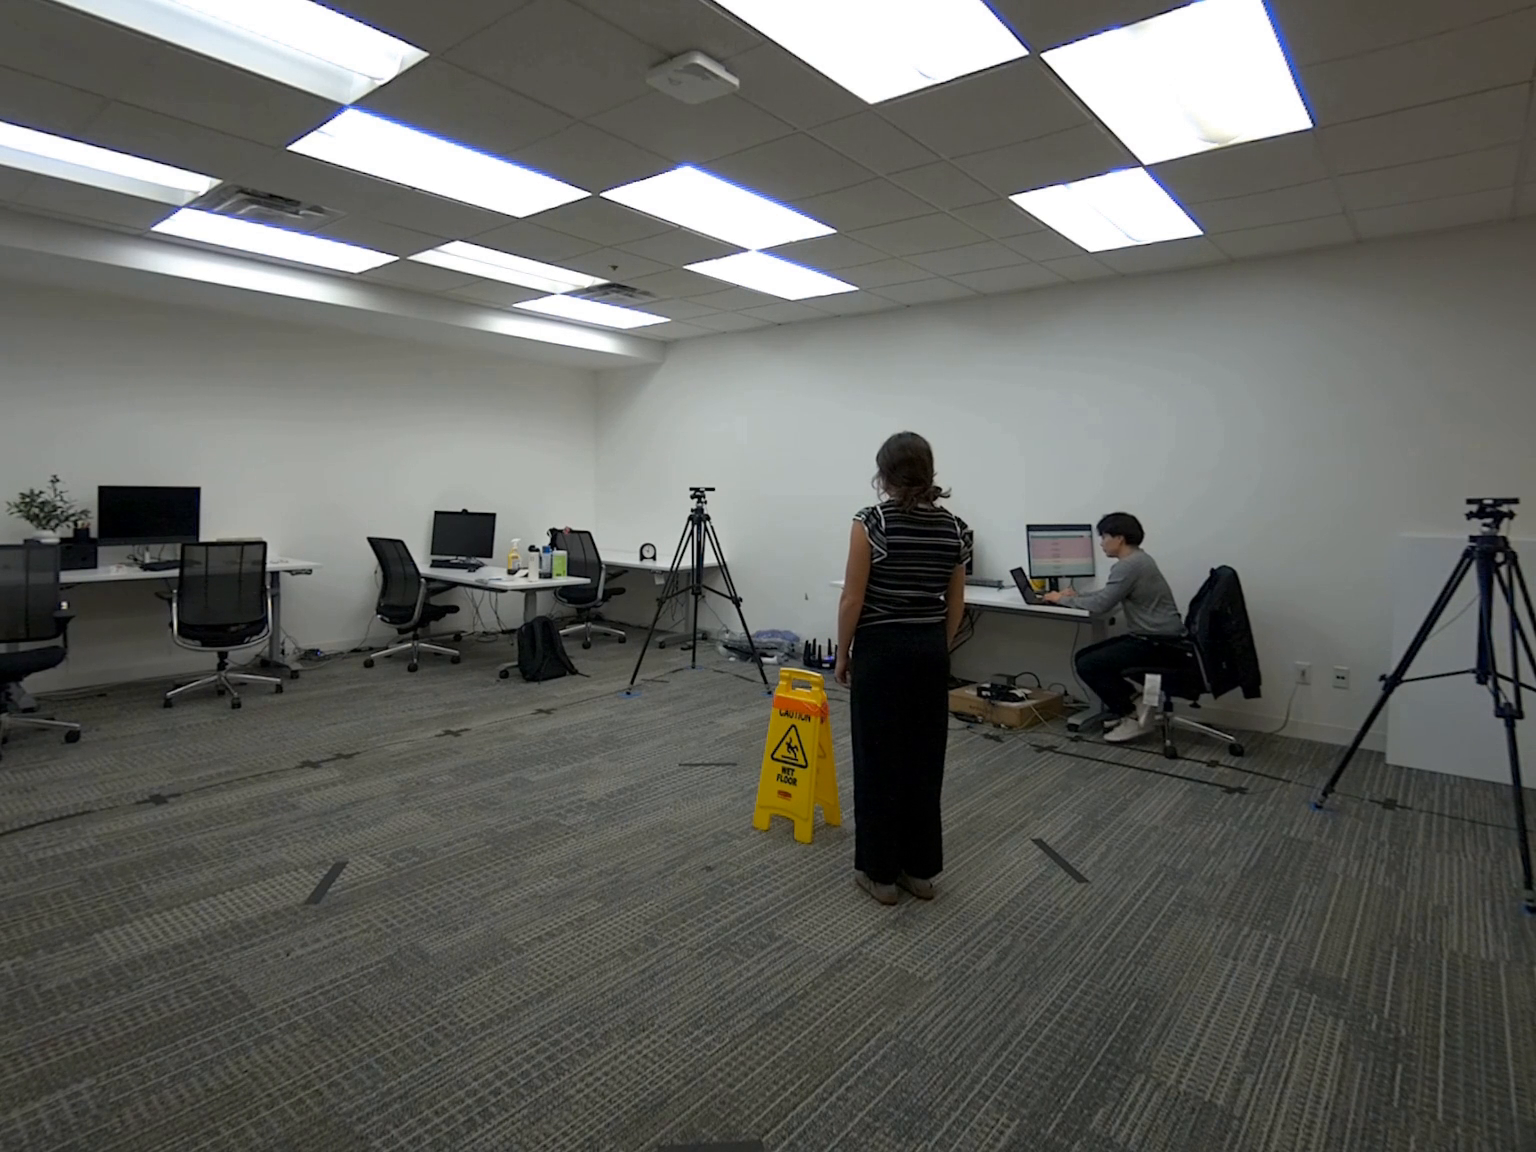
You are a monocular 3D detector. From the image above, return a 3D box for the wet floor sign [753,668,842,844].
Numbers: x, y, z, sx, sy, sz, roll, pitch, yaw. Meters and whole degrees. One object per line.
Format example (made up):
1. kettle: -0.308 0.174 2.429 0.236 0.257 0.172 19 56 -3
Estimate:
1. wet floor sign: 0.120 0.708 3.514 0.291 0.644 0.281 4 3 35
